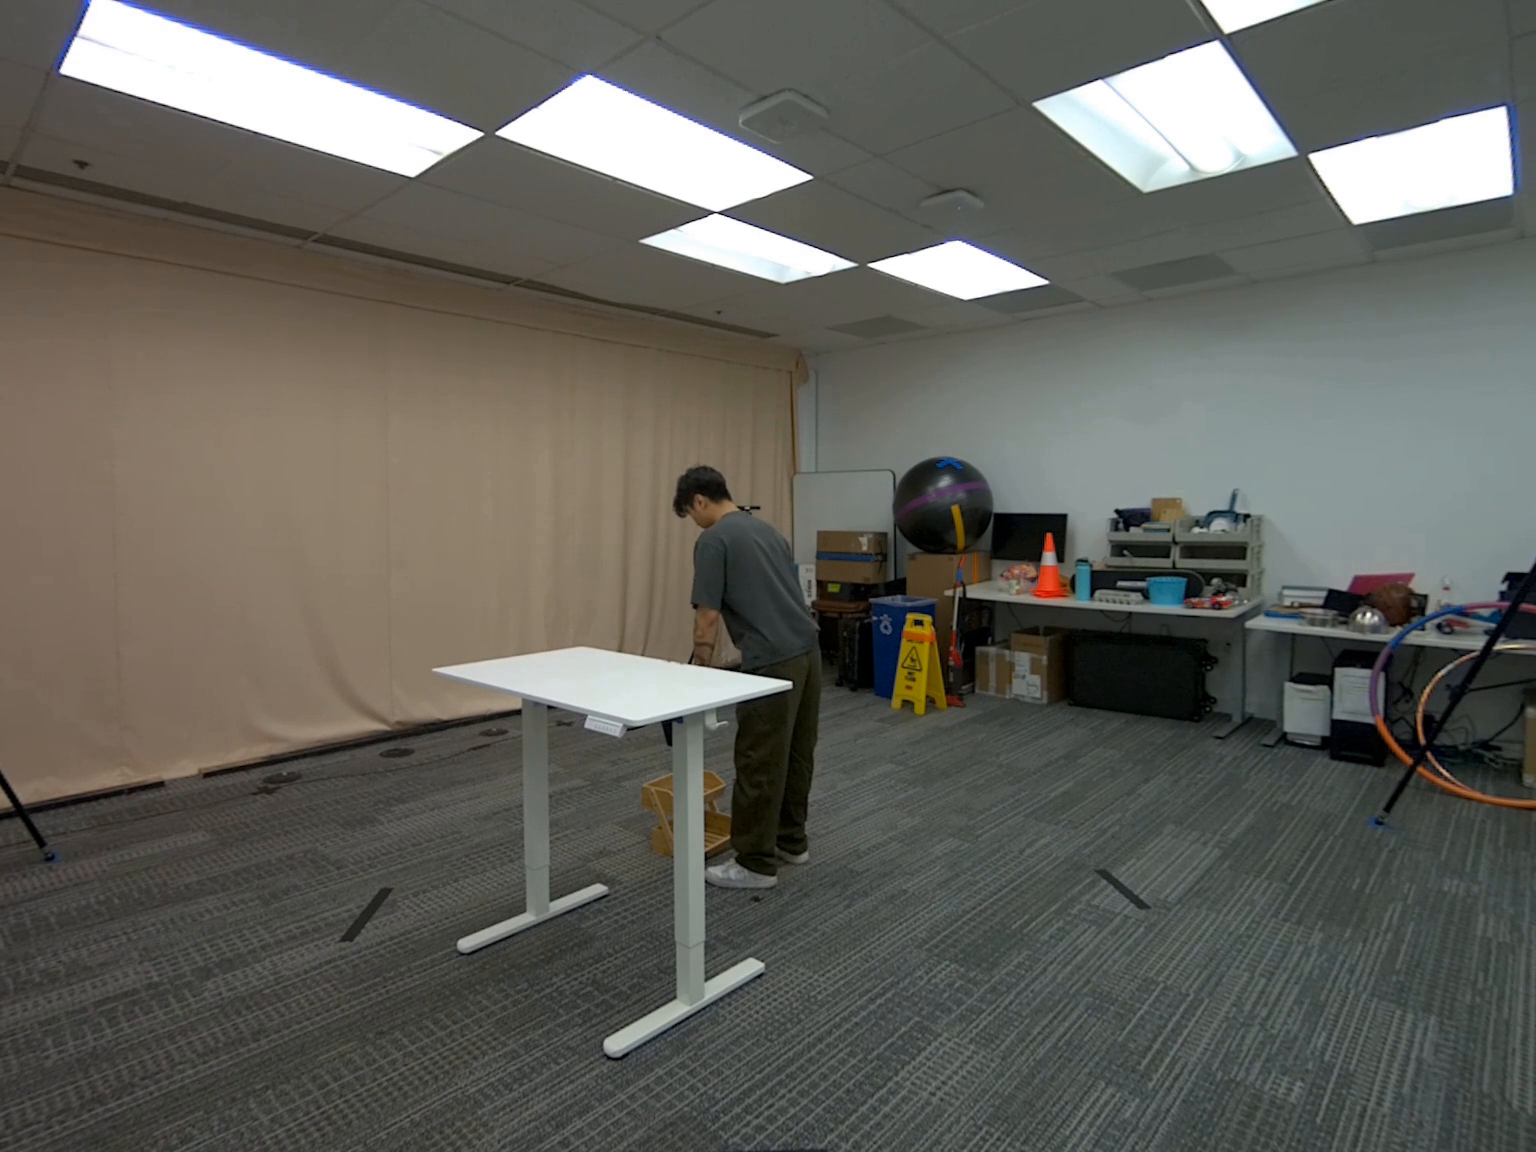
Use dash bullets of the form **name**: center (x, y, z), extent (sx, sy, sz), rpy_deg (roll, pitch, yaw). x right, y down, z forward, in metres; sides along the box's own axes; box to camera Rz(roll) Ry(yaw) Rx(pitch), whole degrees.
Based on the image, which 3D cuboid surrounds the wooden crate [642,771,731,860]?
- **wooden crate**: center (-0.302, 0.972, 3.465), extent (0.311, 0.273, 0.315), rpy_deg (1, 4, 34)
